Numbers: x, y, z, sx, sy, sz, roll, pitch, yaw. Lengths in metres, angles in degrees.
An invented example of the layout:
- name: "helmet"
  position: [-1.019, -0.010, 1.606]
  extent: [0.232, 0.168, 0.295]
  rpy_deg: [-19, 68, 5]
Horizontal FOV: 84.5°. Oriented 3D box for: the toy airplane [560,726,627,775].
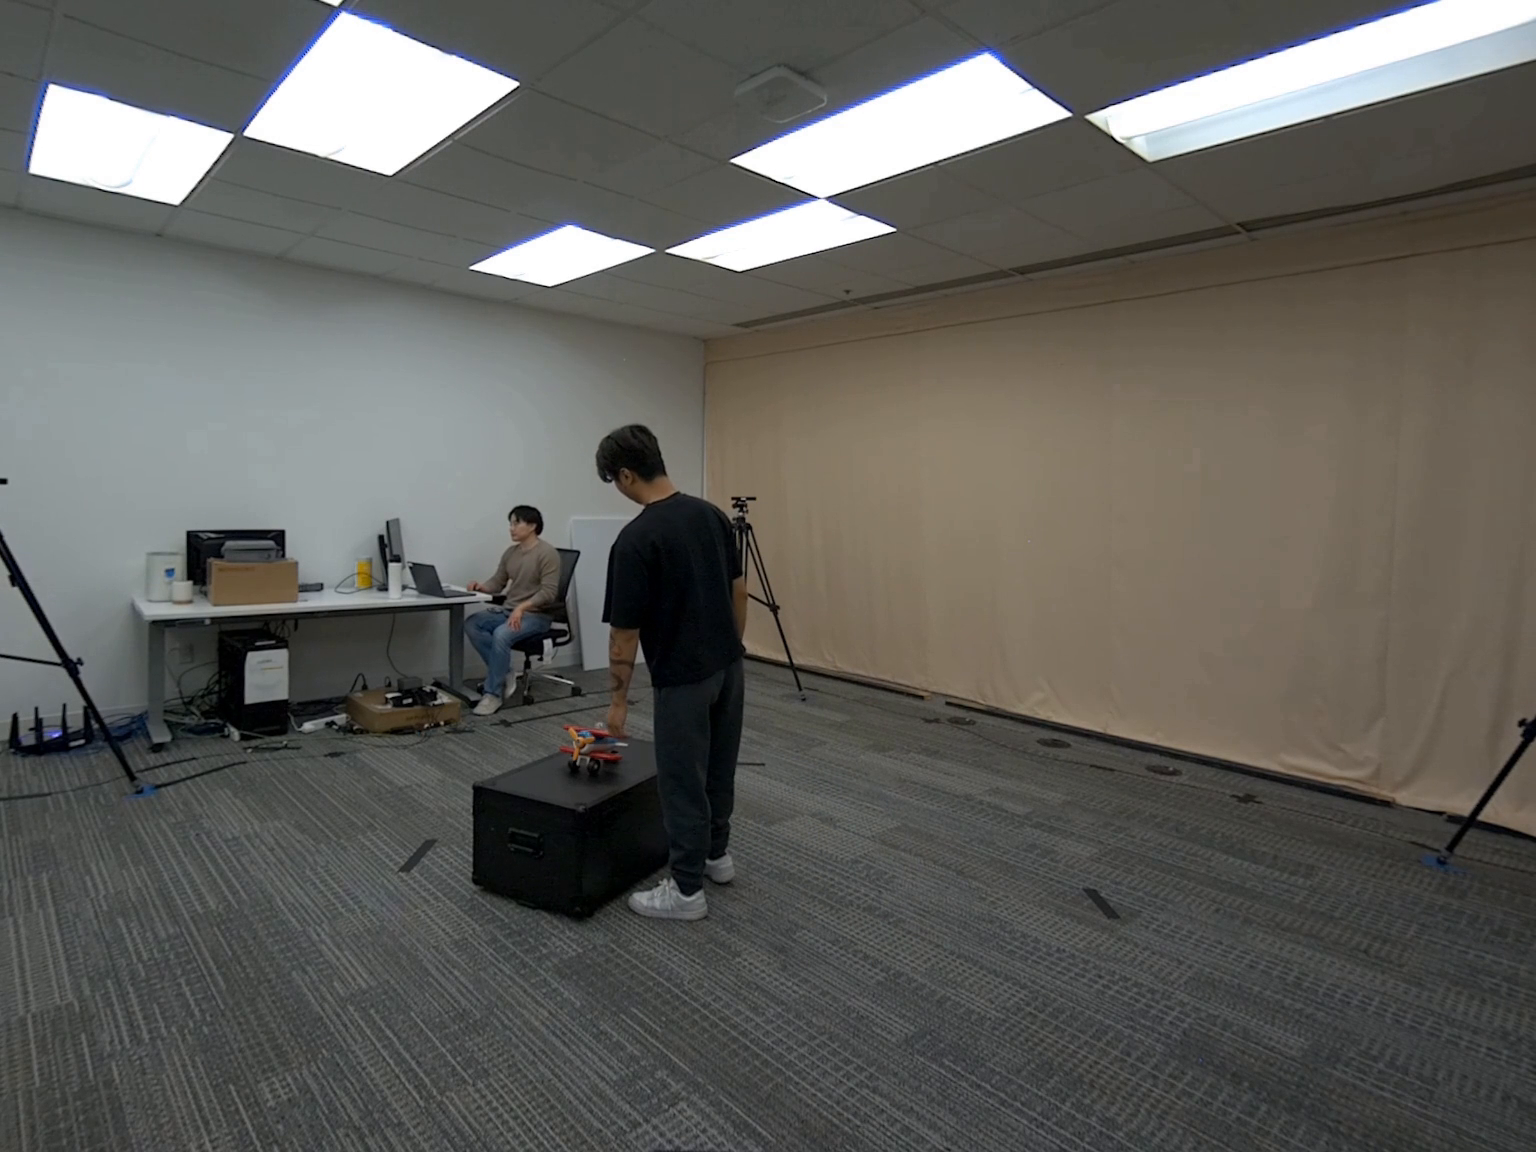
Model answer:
- name: "toy airplane"
  position: [-0.667, 0.638, 3.178]
  extent: [0.250, 0.156, 0.260]
  rpy_deg: [2, 5, -3]
